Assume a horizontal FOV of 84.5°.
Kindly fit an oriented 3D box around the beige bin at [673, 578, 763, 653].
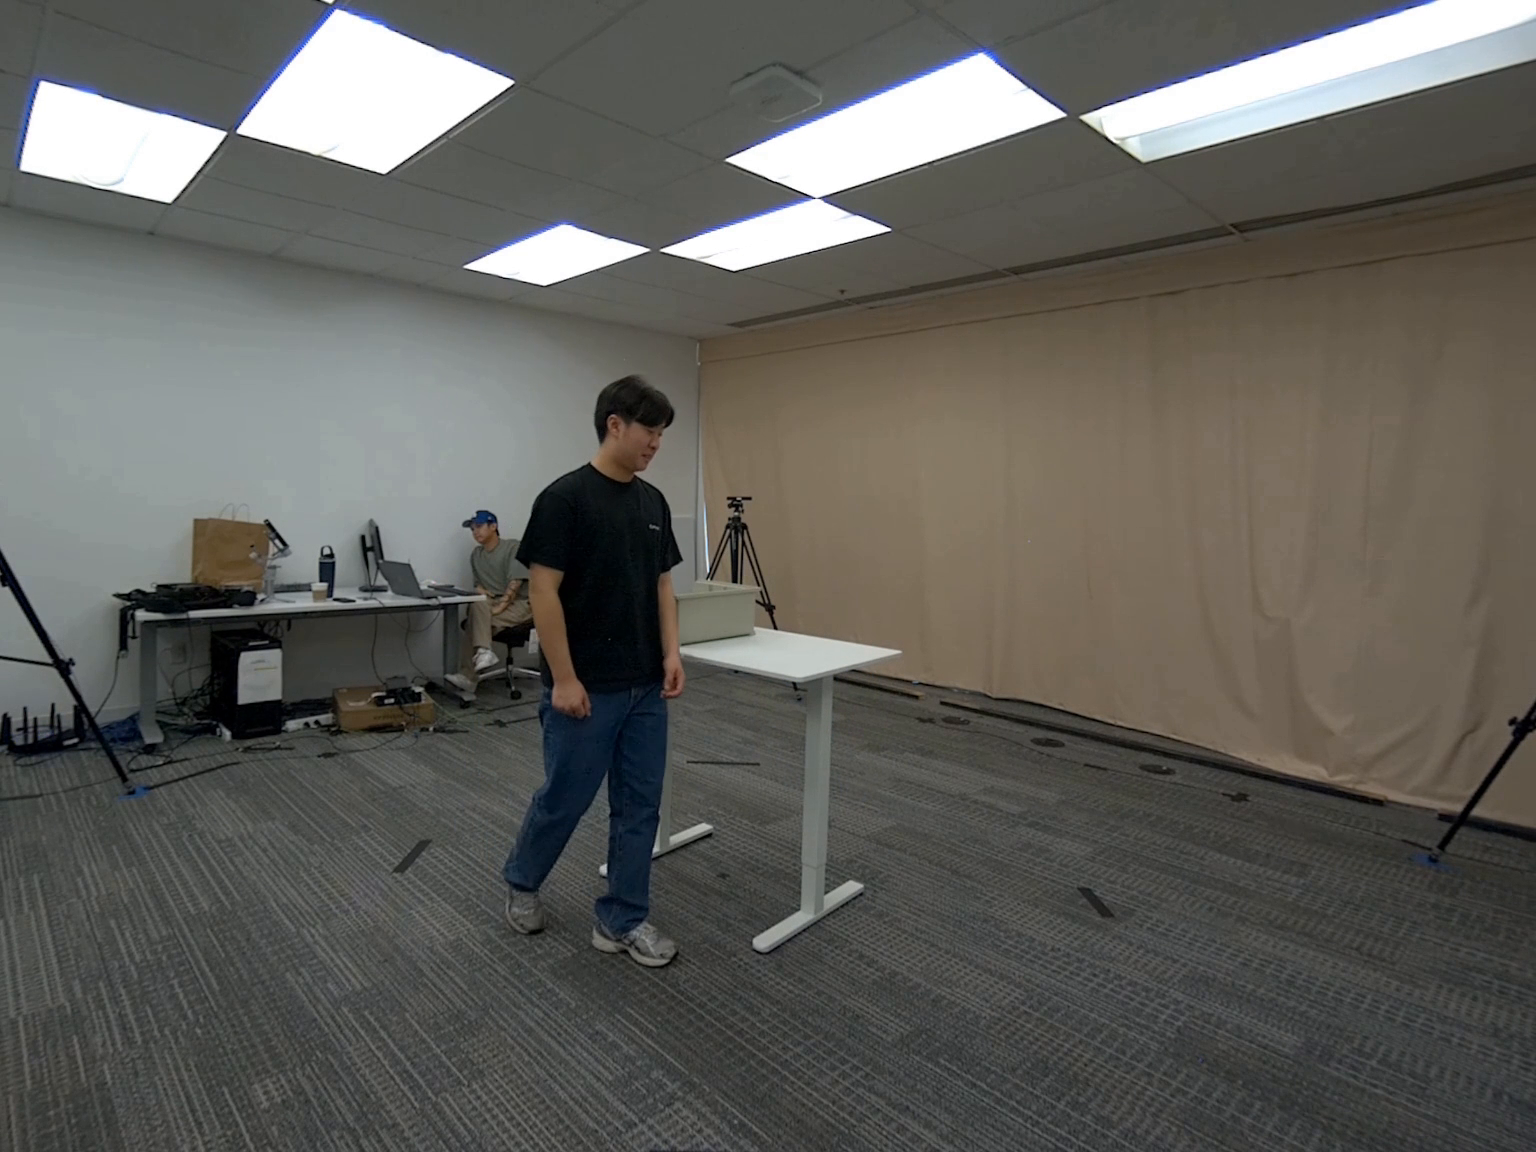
[{"bbox_3d":[-0.308,0.133,3.107,0.387,0.188,0.413,8,8,43],"label":"beige bin"}]
